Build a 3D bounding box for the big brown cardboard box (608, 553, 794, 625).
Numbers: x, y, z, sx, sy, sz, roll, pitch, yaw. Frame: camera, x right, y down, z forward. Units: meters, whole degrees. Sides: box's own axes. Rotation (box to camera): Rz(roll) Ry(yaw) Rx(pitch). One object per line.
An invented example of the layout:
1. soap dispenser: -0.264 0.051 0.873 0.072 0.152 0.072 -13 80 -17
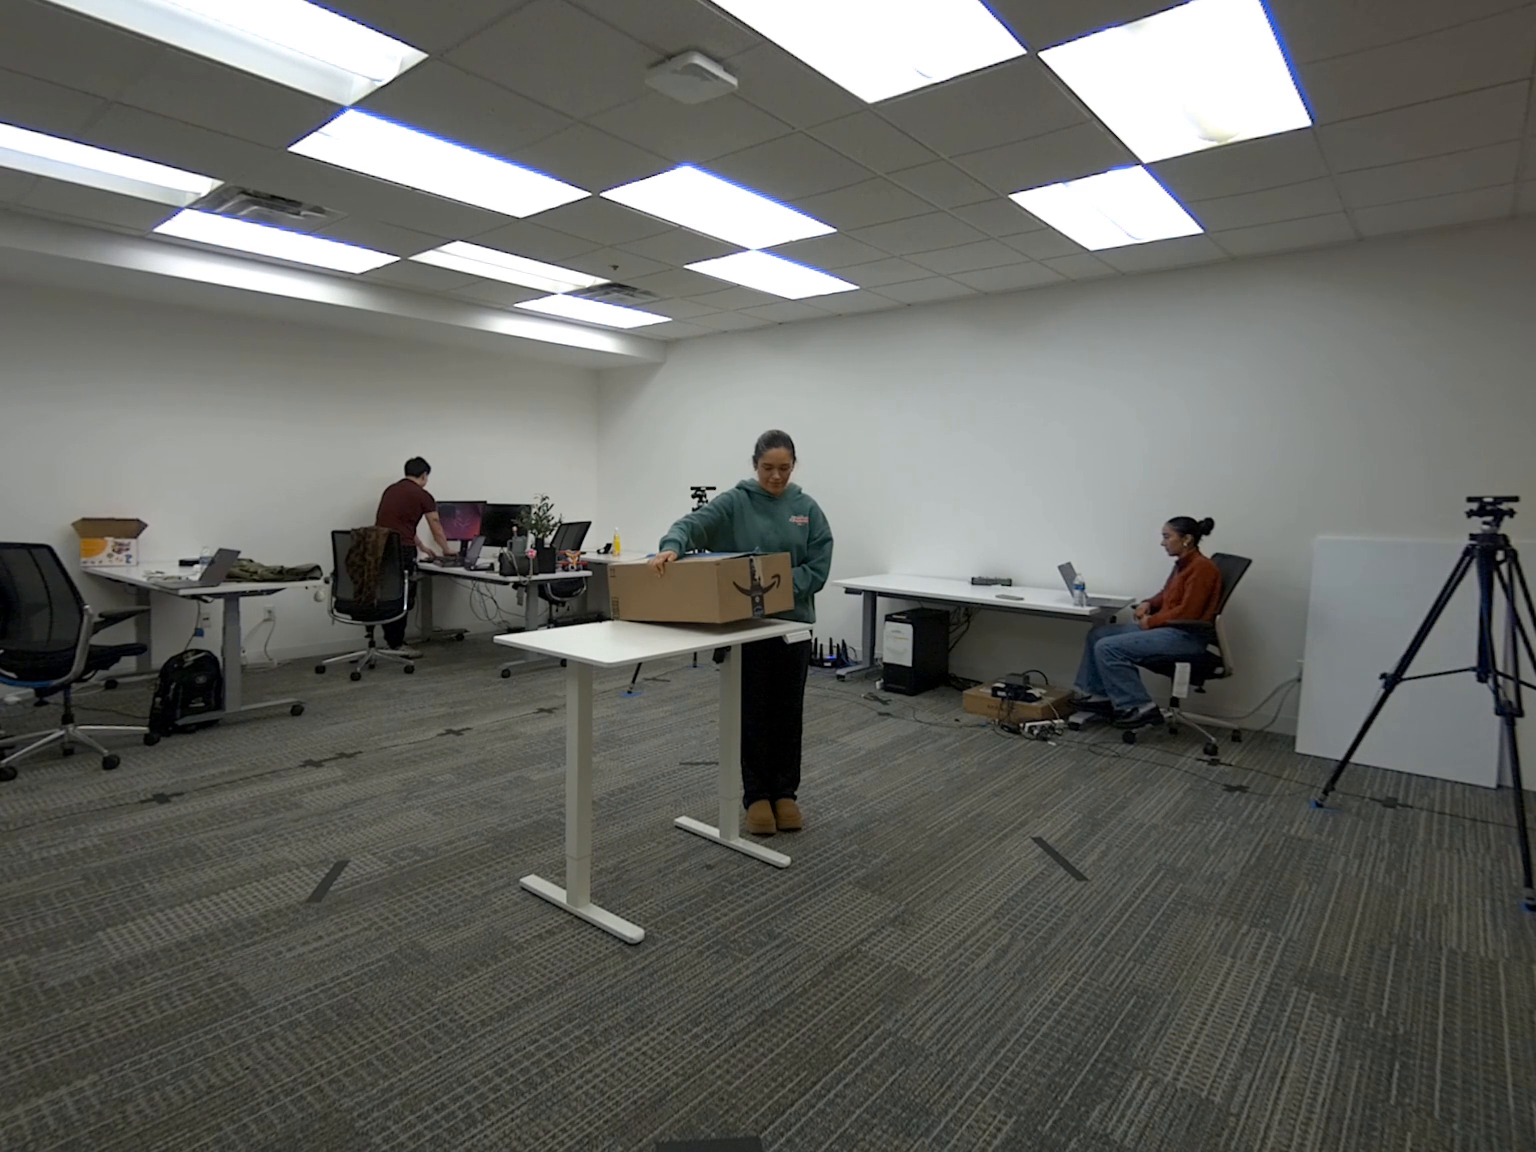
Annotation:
1. big brown cardboard box: -0.271 0.036 3.230 0.608 0.232 0.406 1 5 40
